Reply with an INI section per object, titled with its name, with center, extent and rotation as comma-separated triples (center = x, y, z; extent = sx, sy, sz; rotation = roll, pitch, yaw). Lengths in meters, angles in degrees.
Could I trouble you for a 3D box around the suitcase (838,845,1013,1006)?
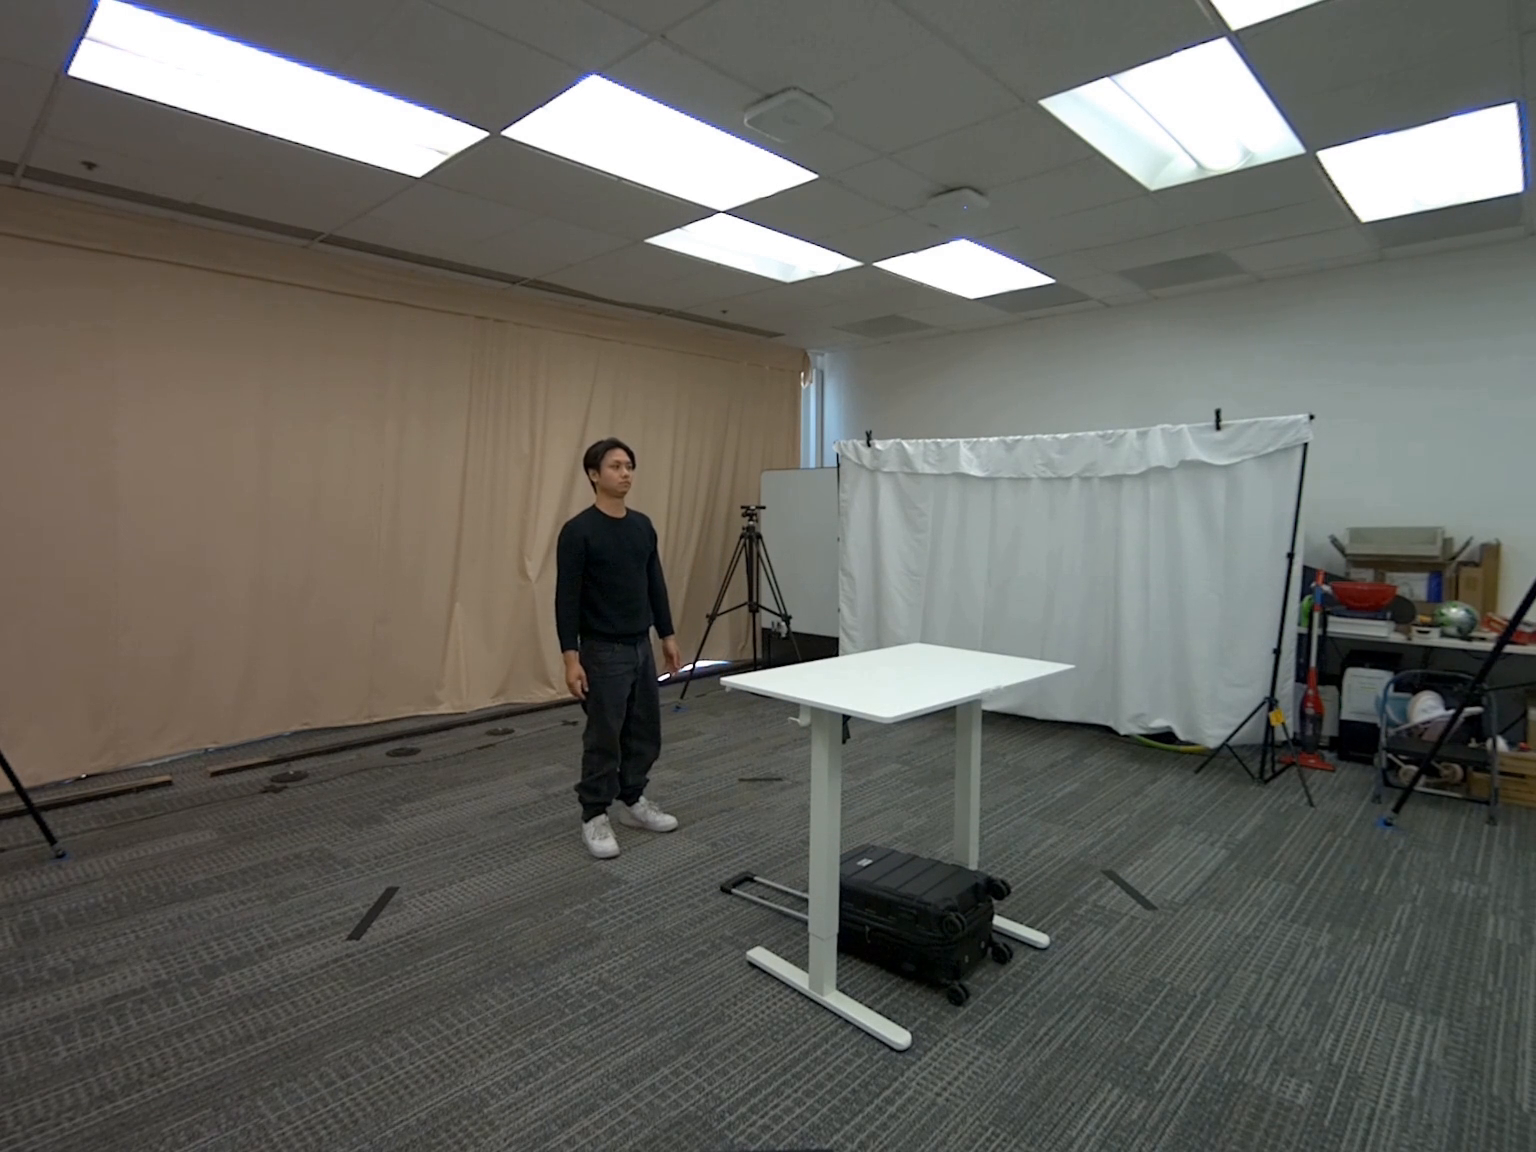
[suitcase]
center = 0.268, 1.033, 2.768
extent = 1.011, 0.256, 0.372
rotation = 4, 6, 40
